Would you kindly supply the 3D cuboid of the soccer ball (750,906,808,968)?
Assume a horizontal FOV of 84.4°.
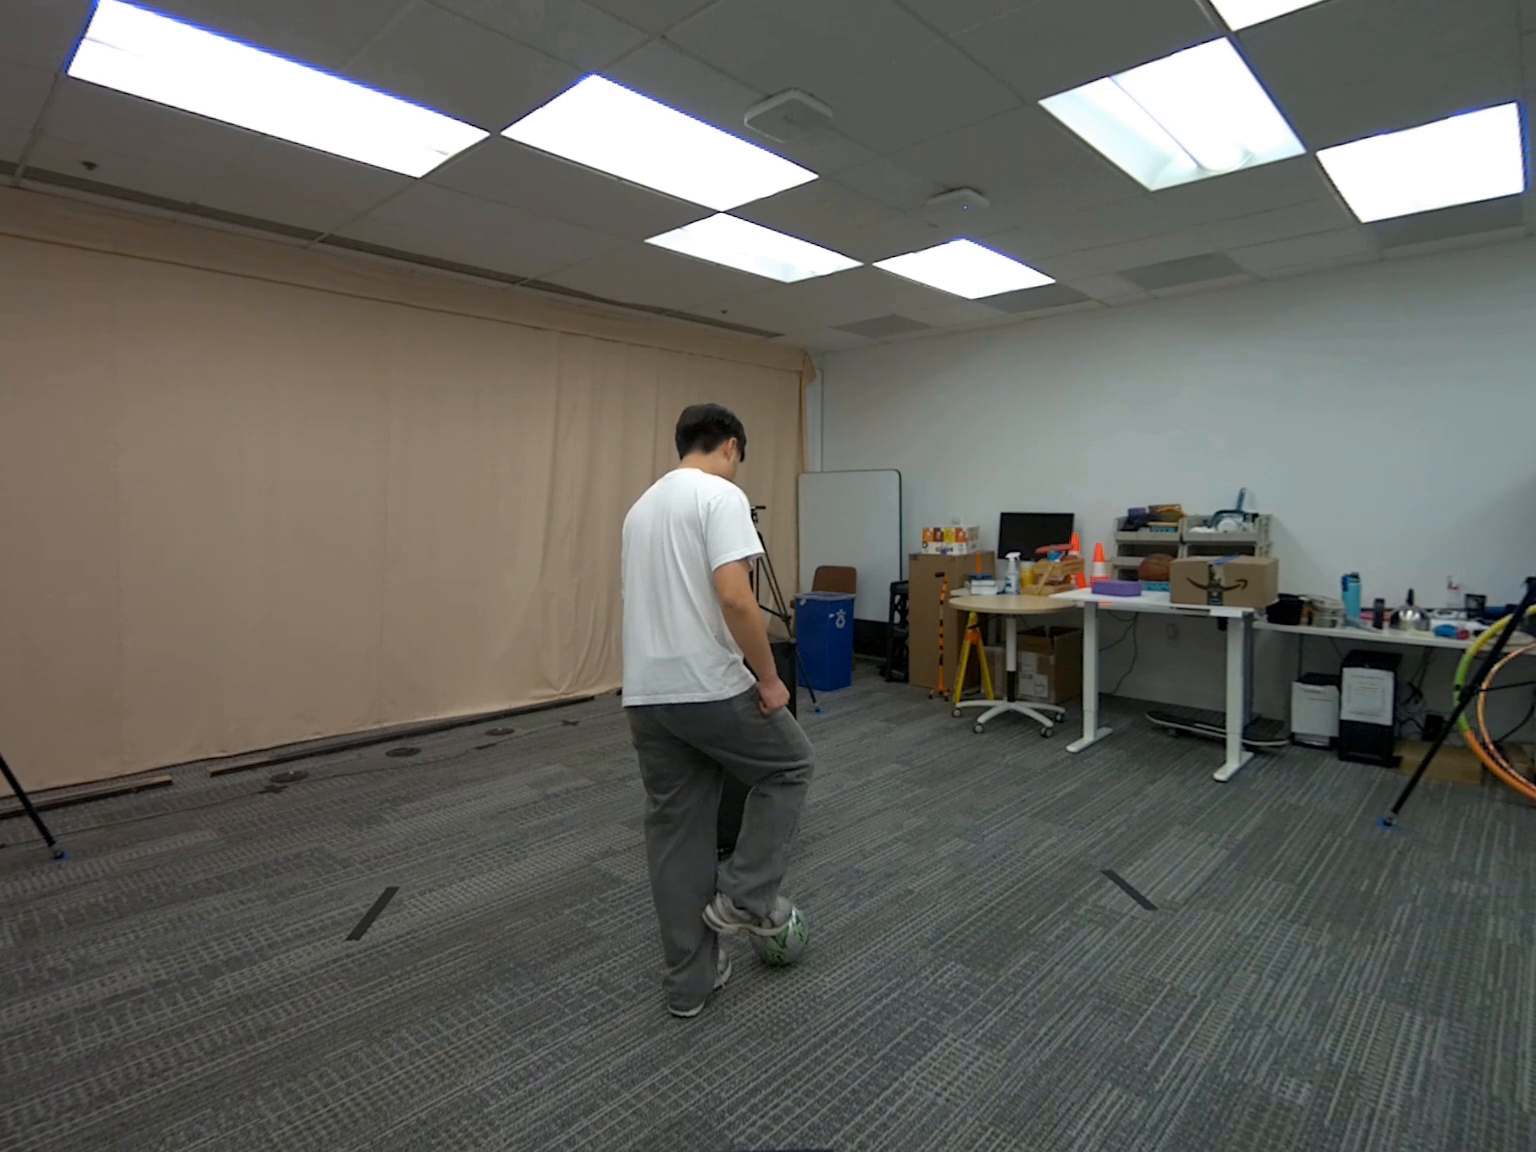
[{"bbox_3d":[0.042,1.078,2.583,0.187,0.187,0.188,0,4,-2],"label":"soccer ball"}]
